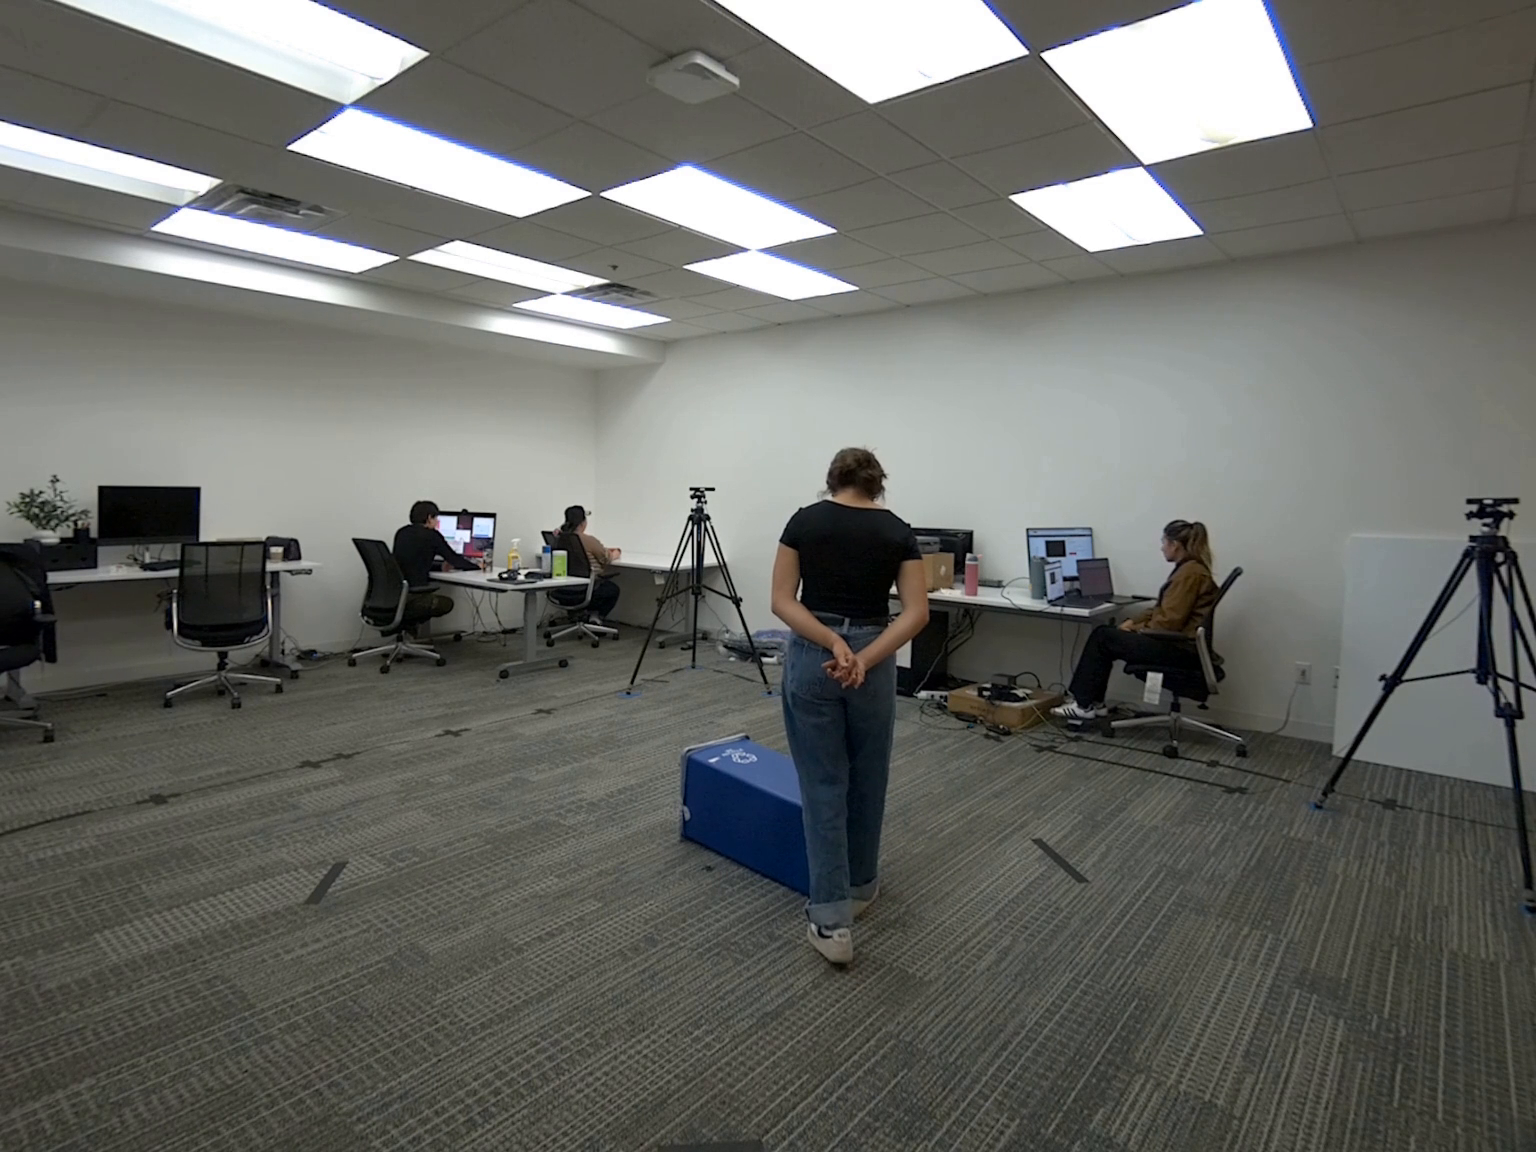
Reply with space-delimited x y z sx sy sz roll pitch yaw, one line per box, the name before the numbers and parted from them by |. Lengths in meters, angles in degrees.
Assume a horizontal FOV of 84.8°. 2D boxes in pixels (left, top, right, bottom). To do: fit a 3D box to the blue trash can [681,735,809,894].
blue trash can | 0.020 0.894 3.209 0.363 0.376 0.740 -3 9 -45
